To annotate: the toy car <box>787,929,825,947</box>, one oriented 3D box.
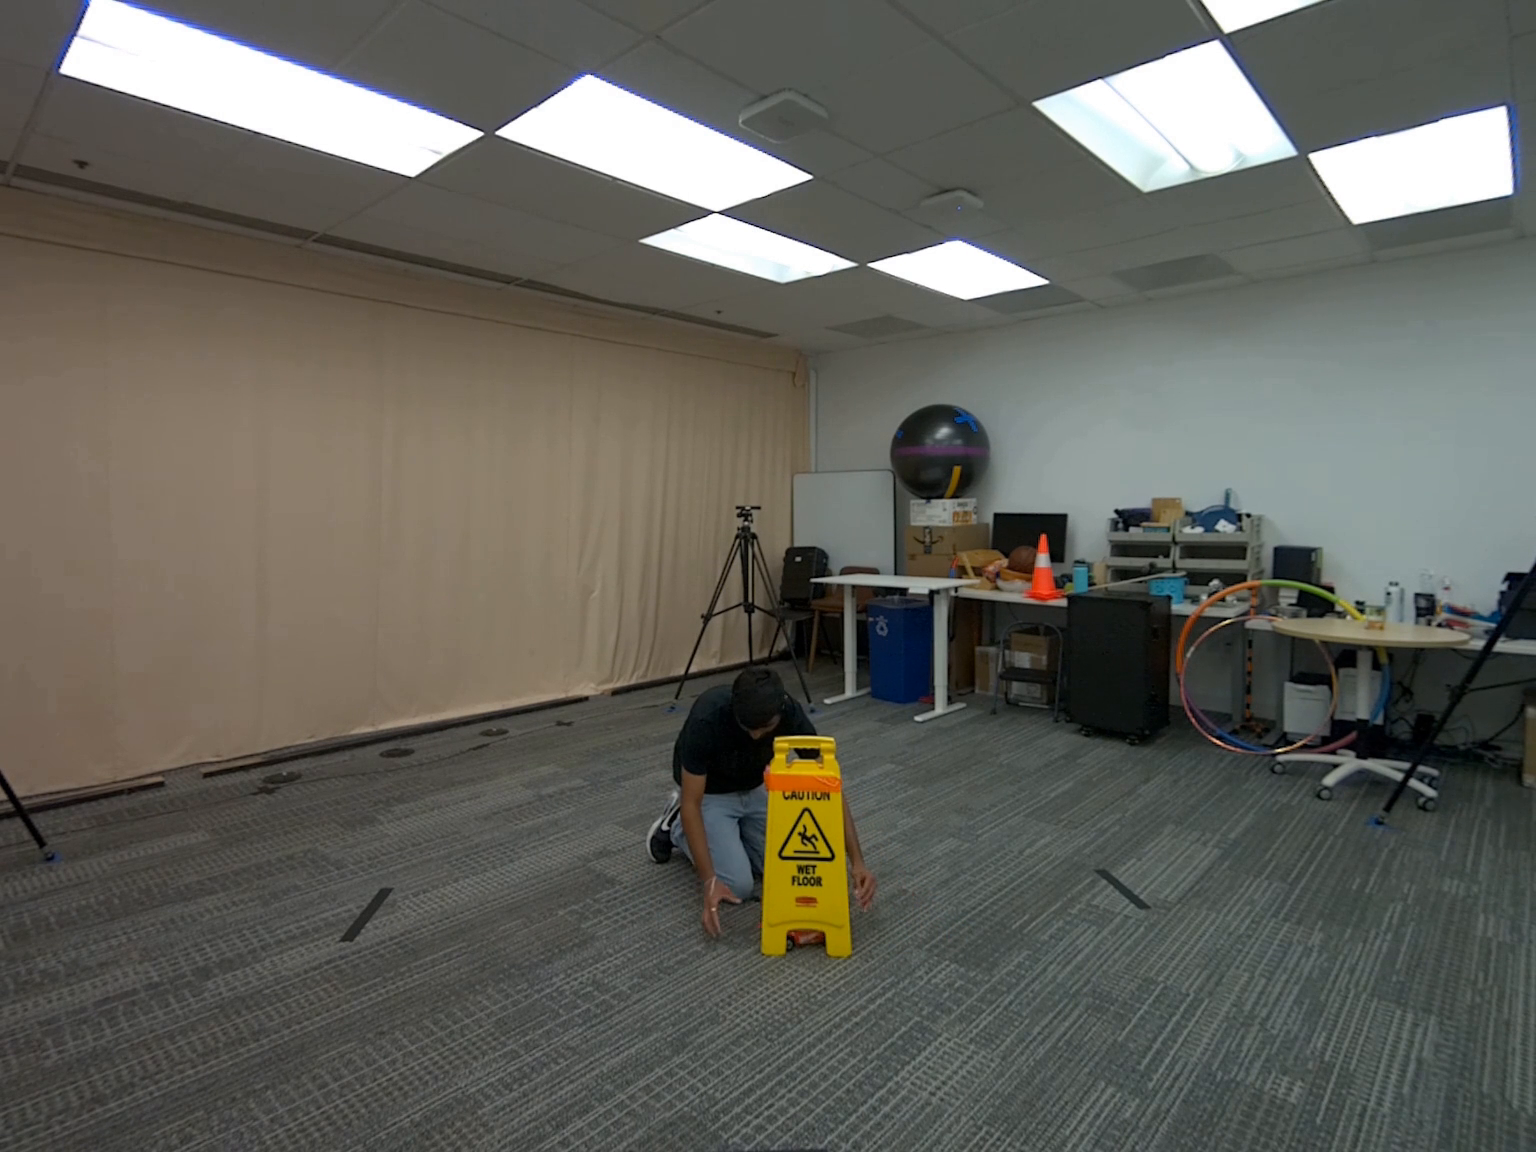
[{"bbox_3d":[0.105,1.136,2.690,0.250,0.083,0.133,9,6,-15],"label":"toy car"}]
